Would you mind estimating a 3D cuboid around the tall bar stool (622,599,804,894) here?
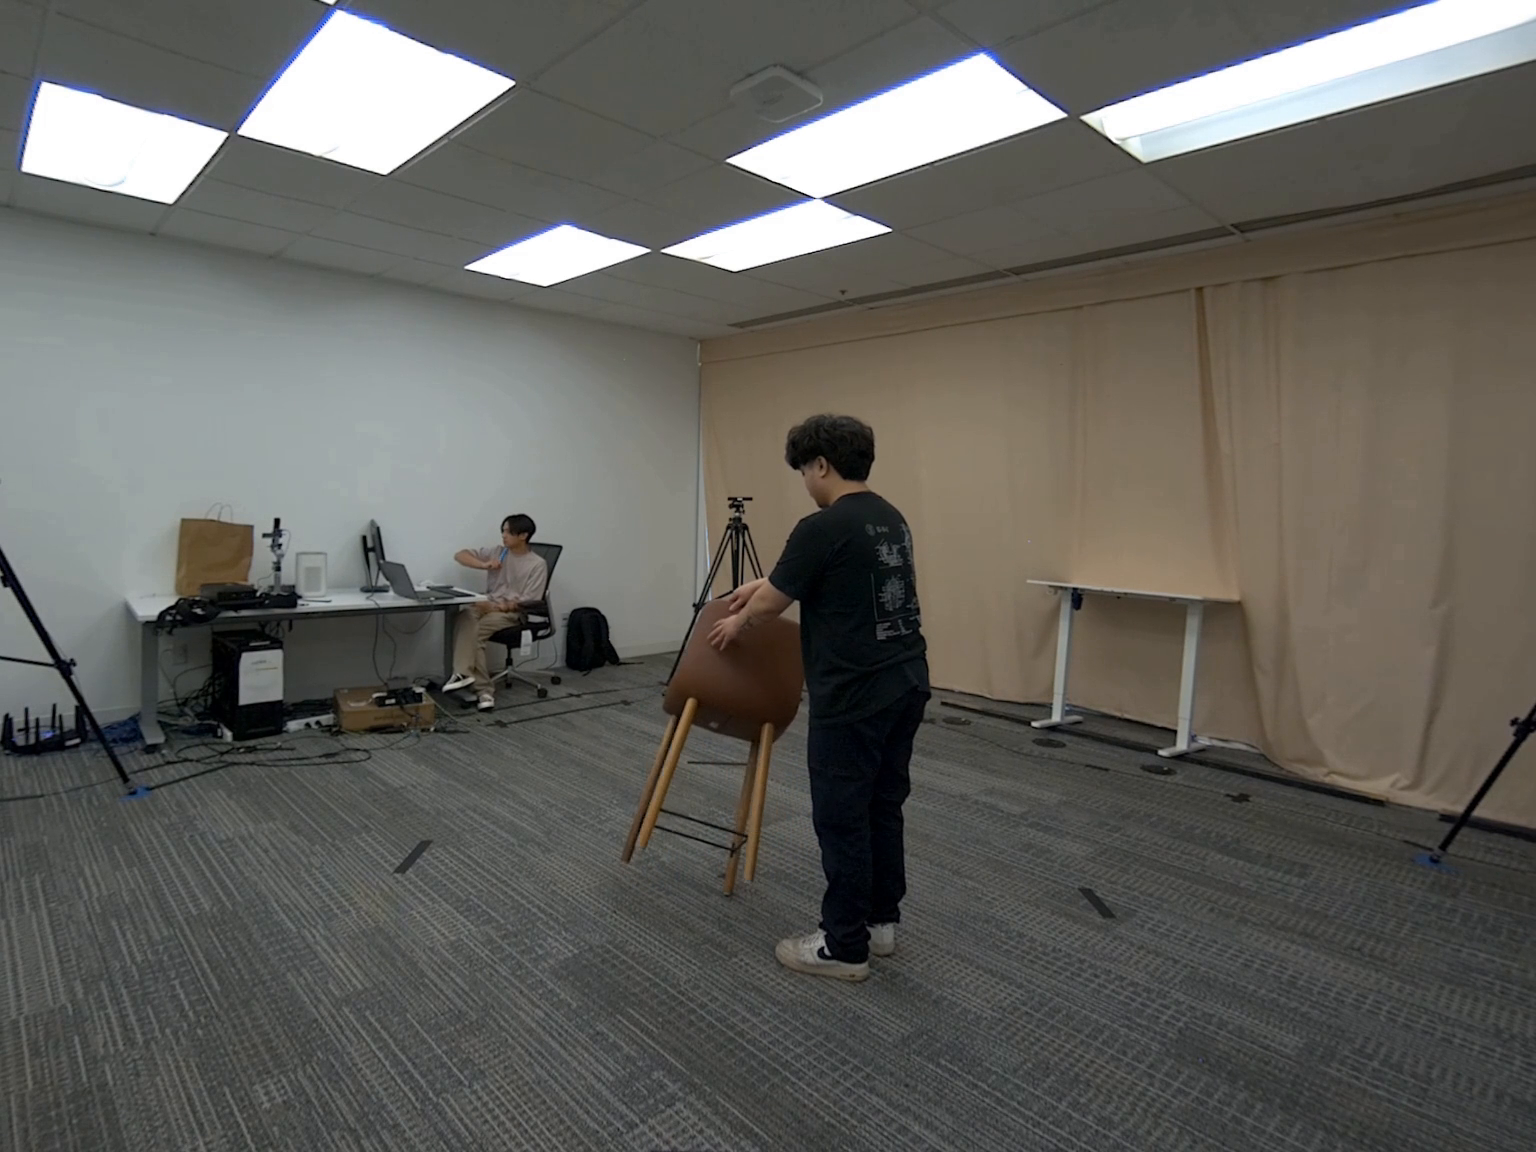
[{"bbox_3d":[-0.181,0.594,2.957,0.455,0.900,0.464,18,-26,-5],"label":"tall bar stool"}]
